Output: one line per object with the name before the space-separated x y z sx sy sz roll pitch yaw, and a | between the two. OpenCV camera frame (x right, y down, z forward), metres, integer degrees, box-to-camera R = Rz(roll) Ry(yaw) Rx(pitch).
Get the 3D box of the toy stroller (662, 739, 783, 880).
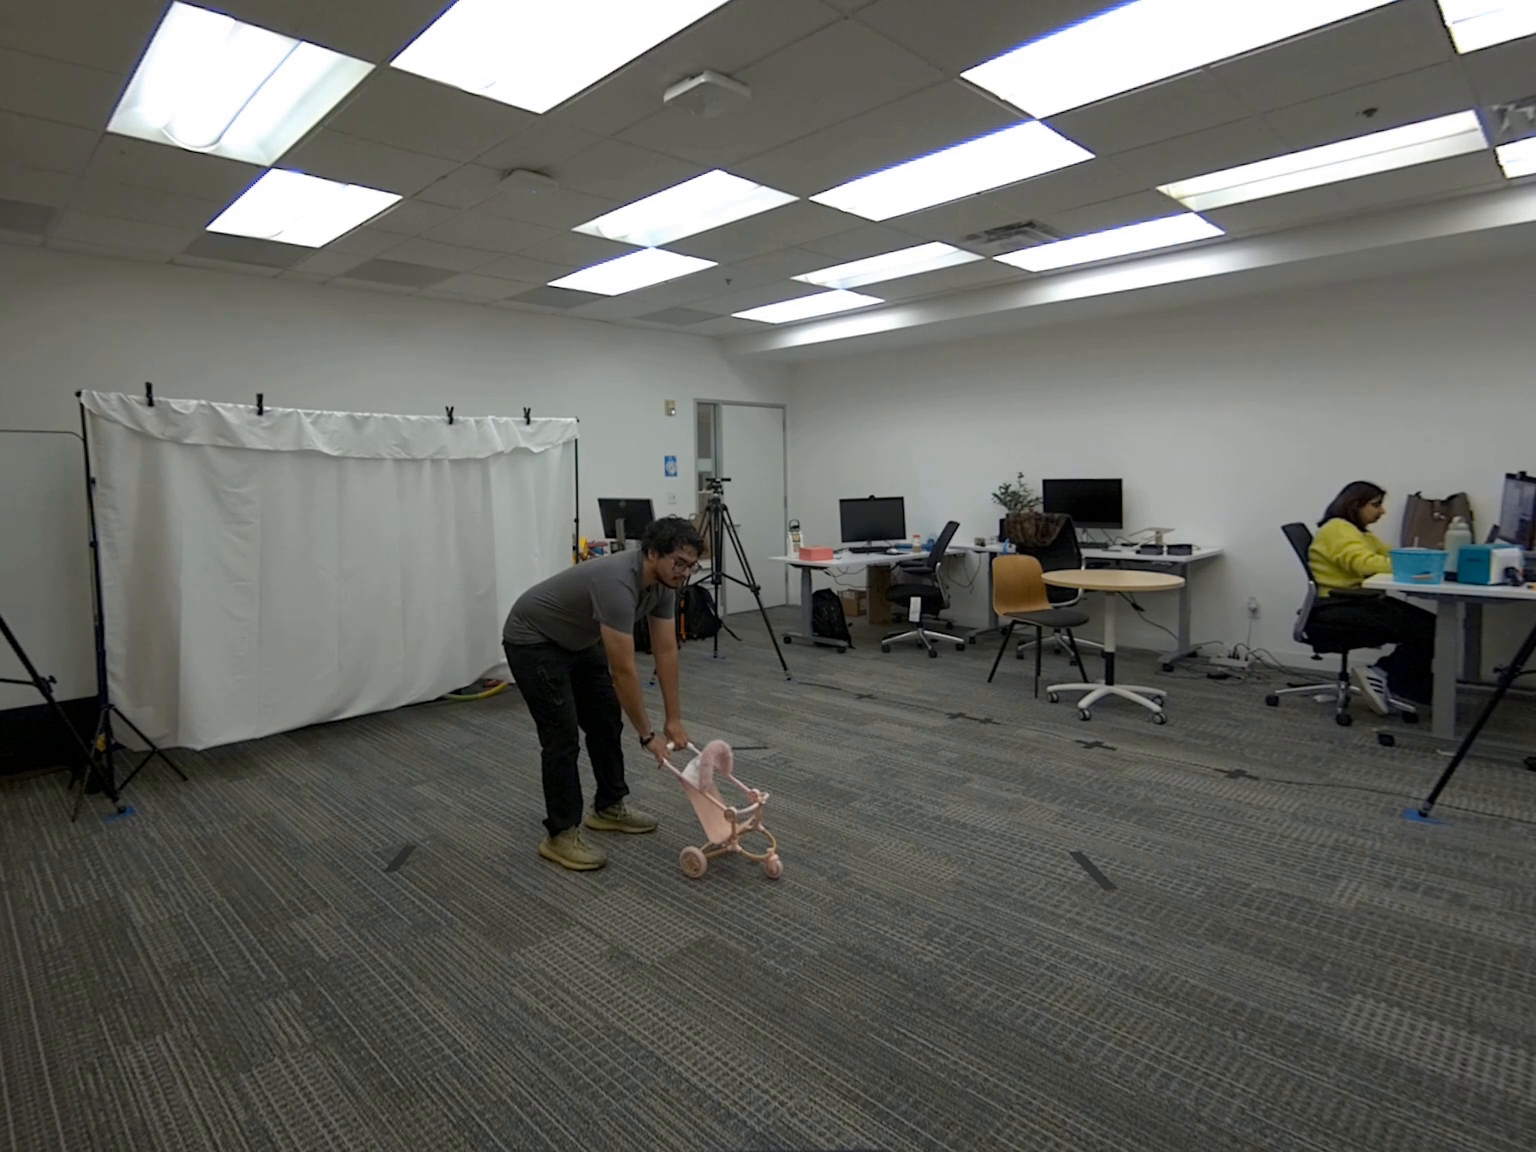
toy stroller | -0.156 0.828 3.060 0.347 0.538 0.275 -20 -6 32
